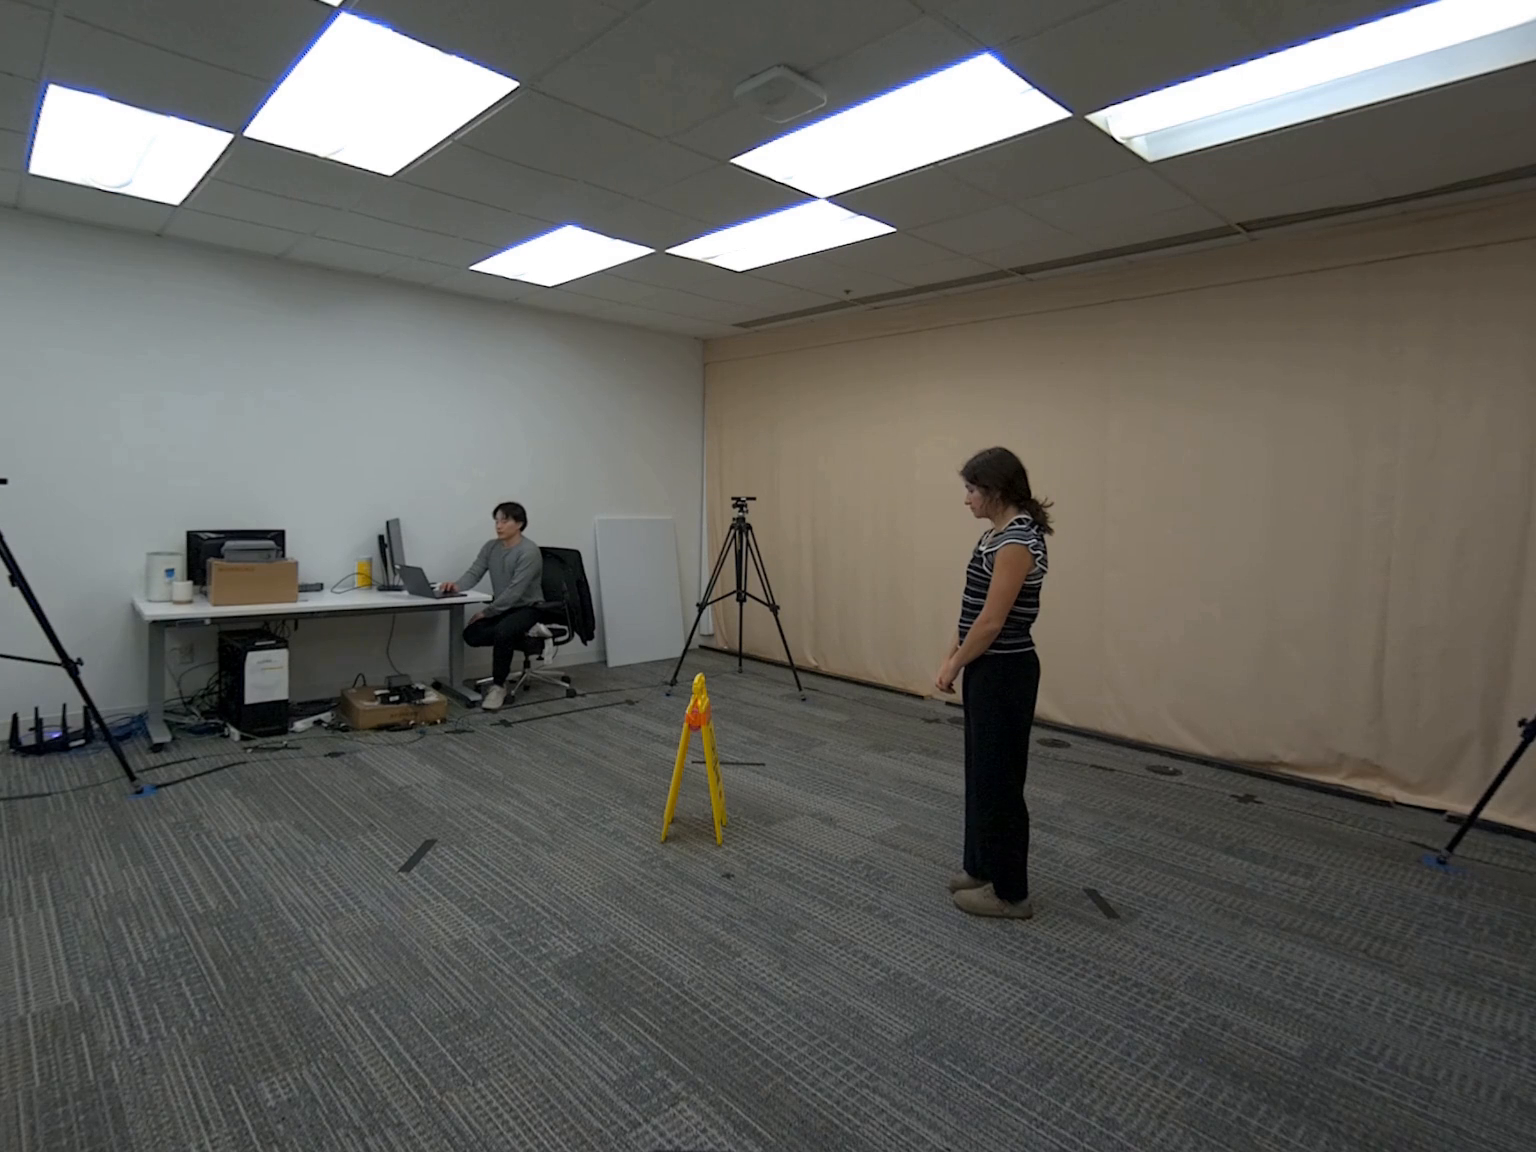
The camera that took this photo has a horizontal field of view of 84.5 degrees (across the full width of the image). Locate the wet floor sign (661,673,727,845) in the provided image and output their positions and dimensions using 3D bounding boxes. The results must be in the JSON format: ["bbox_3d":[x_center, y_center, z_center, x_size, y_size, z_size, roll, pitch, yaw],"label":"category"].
[{"bbox_3d":[-0.302,0.745,3.501,0.290,0.644,0.282,3,5,3],"label":"wet floor sign"}]
